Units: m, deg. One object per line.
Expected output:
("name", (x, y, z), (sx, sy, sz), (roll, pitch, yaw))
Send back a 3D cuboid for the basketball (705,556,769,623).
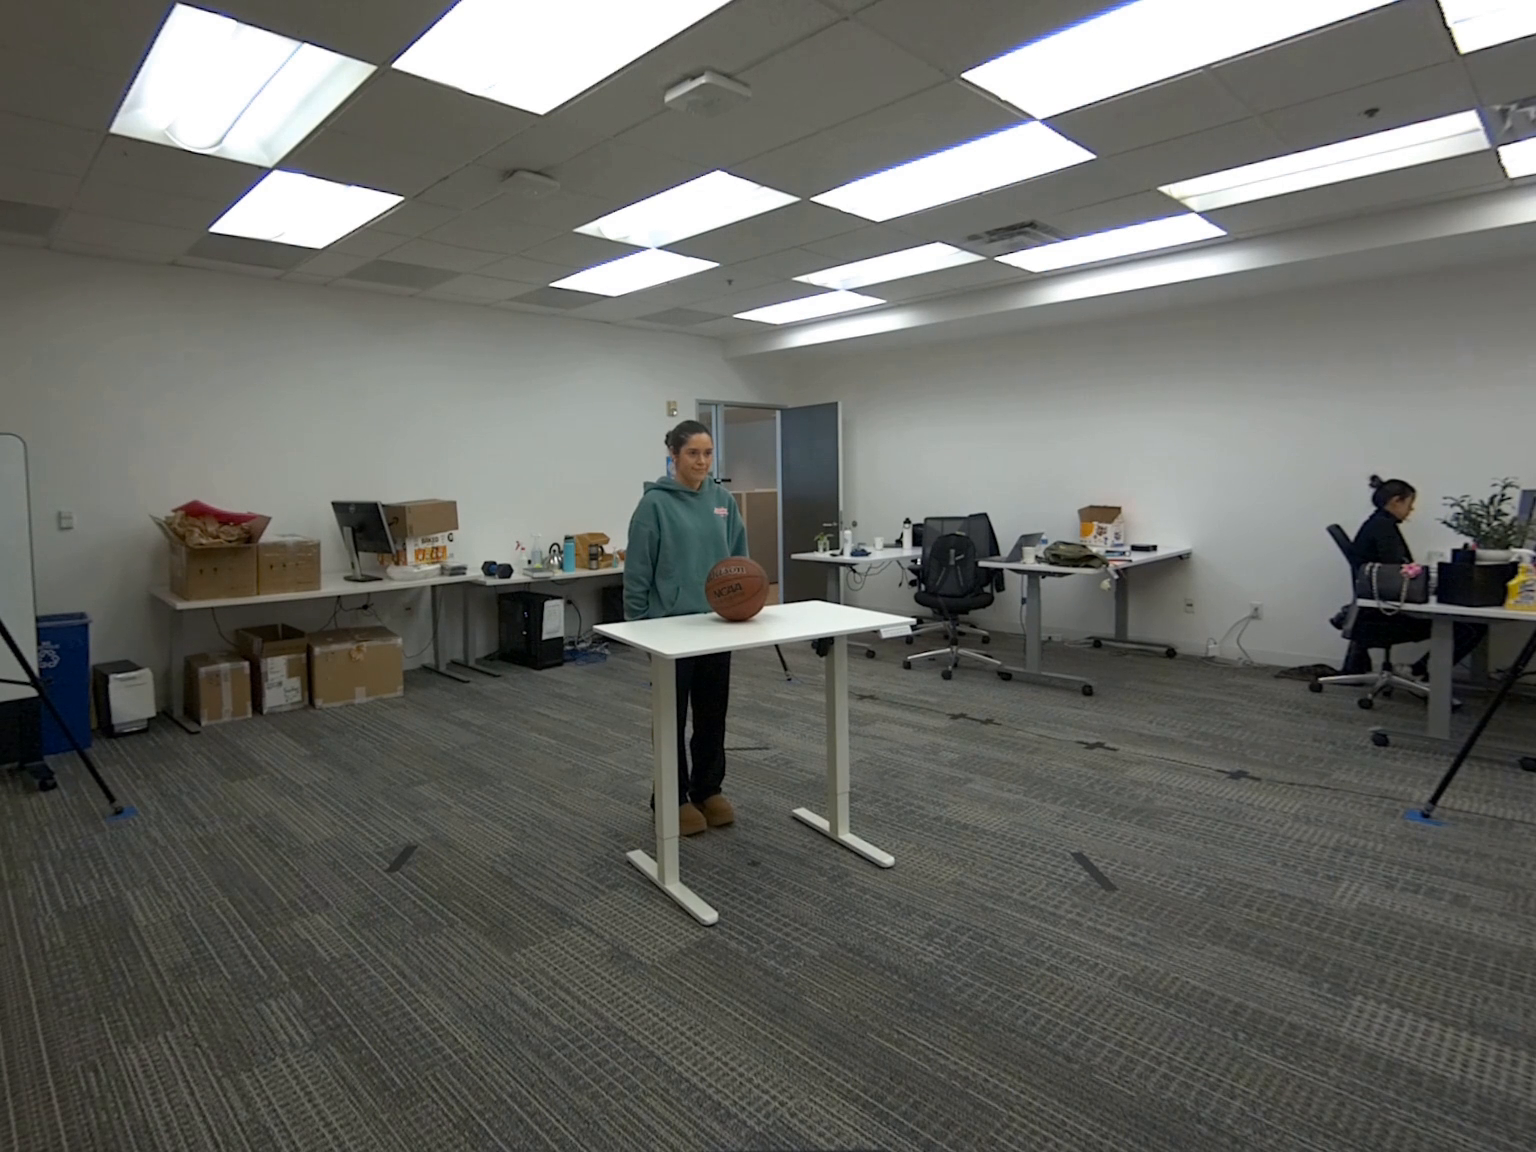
("basketball", (-0.114, 0.046, 3.114), (0.236, 0.235, 0.237), (-1, 5, -2))
